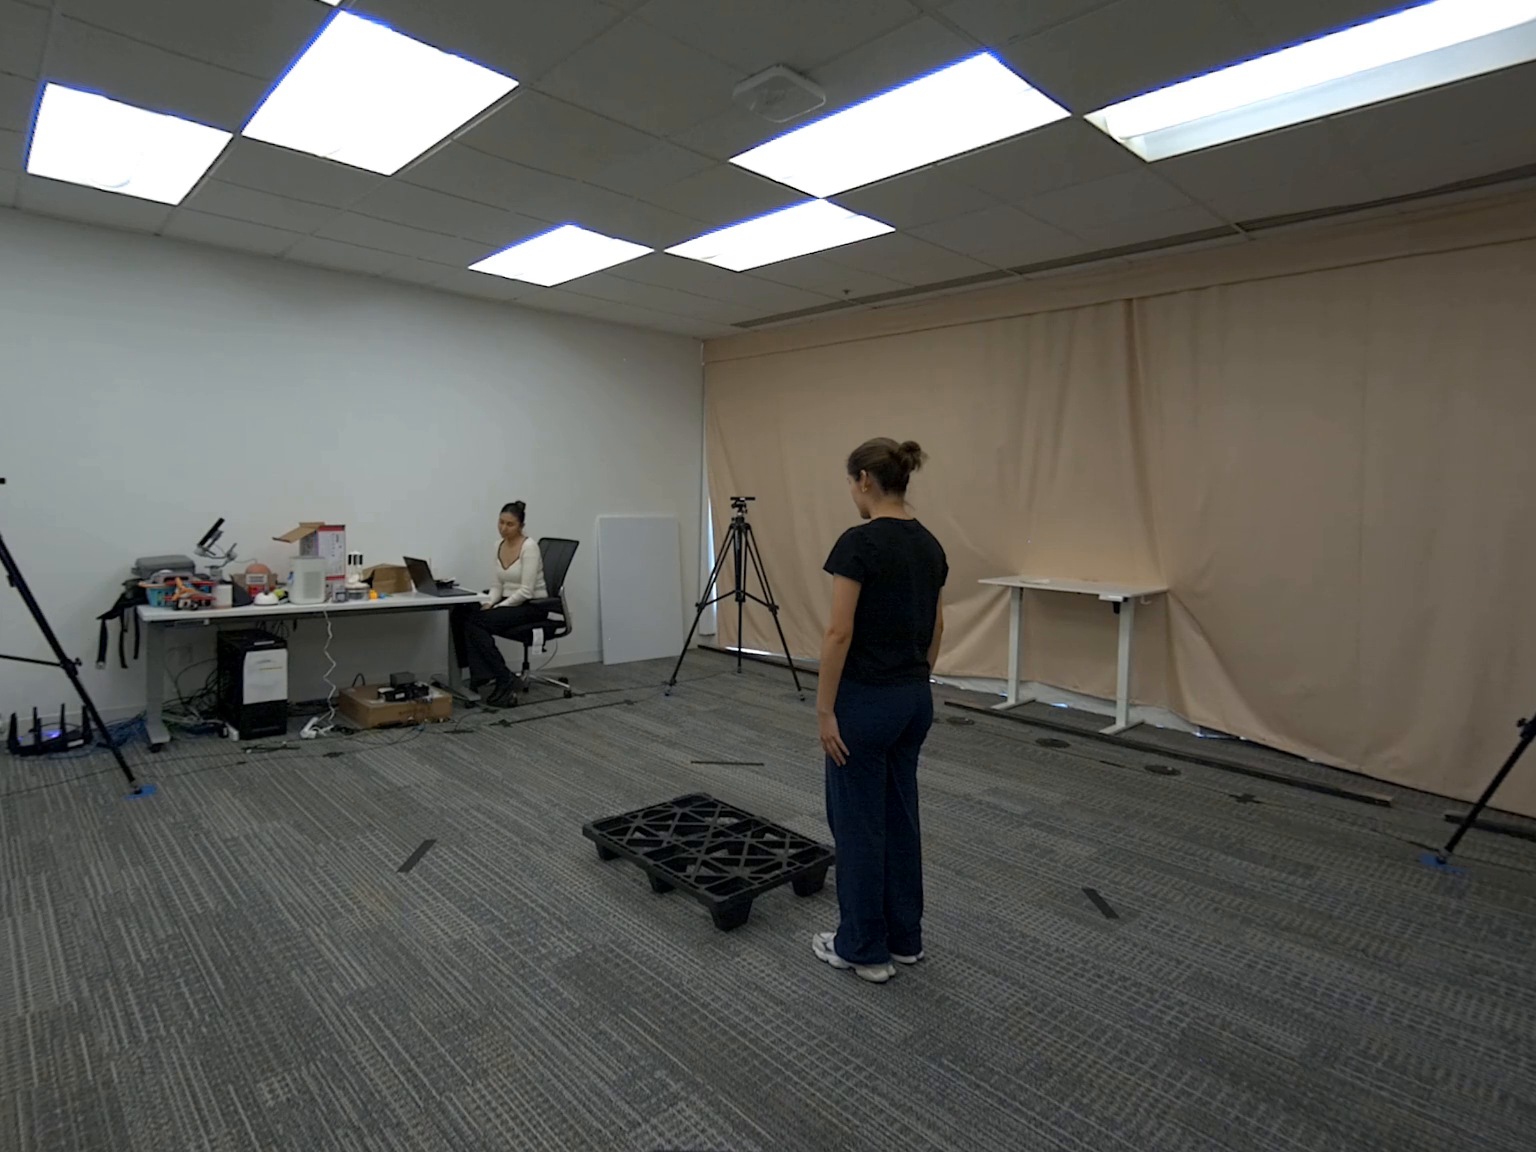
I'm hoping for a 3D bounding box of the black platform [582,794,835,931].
[{"bbox_3d":[-0.229,1.042,3.102,0.592,0.143,0.826,-5,8,-43],"label":"black platform"}]
